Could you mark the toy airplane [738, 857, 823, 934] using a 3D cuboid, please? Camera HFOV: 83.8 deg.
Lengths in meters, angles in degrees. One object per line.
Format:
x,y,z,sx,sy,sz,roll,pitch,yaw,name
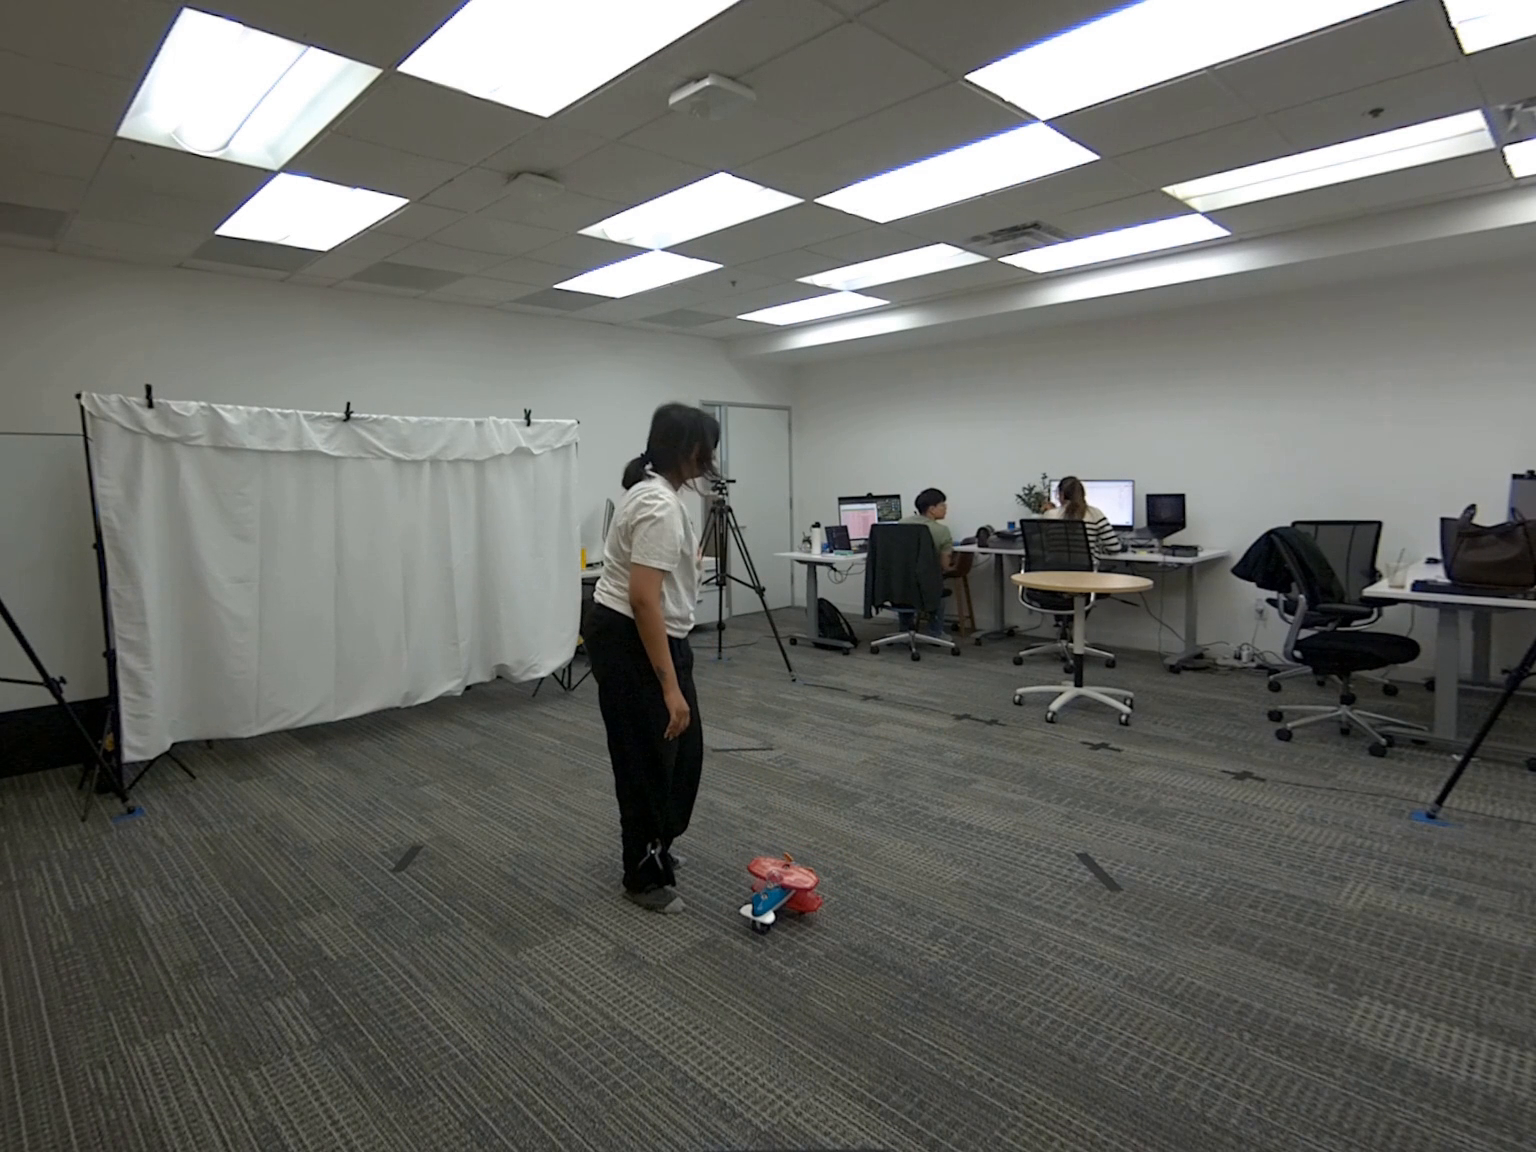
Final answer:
0.049,1.009,2.704,0.254,0.156,0.257,1,5,9,toy airplane
